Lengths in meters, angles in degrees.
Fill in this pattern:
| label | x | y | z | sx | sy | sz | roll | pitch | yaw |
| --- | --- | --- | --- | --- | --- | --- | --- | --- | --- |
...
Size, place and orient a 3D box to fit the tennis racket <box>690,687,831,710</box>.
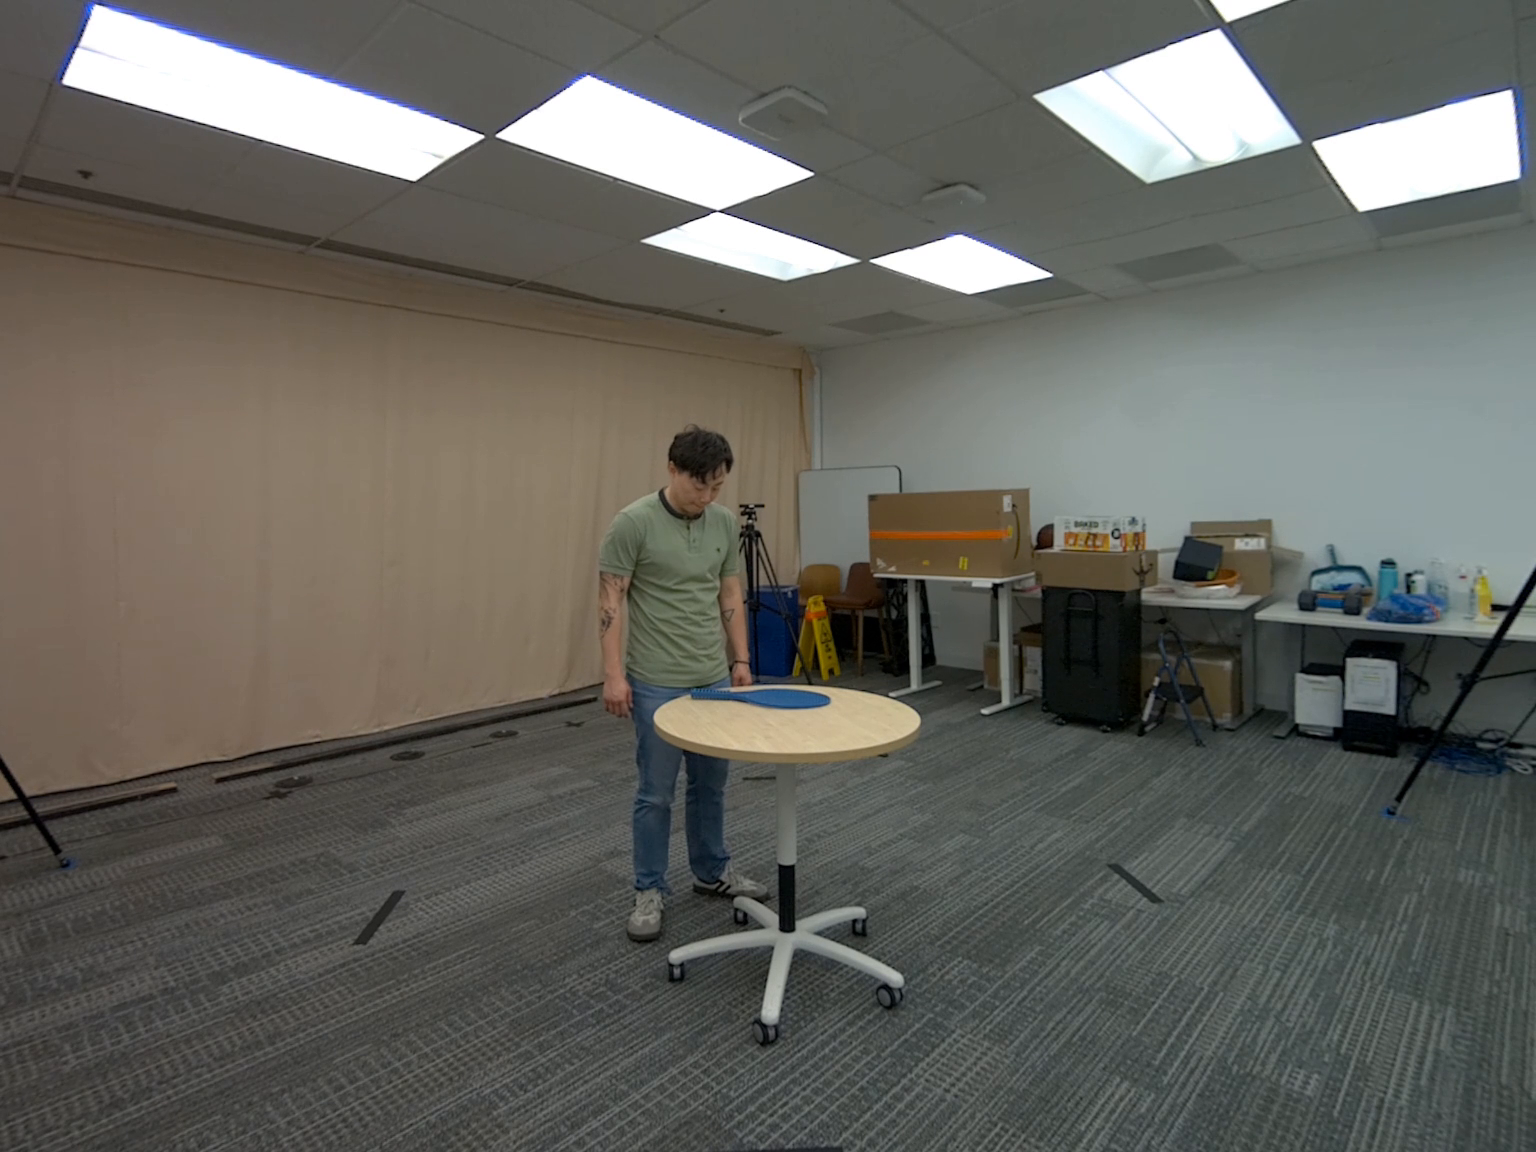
| label | x | y | z | sx | sy | sz | roll | pitch | yaw |
| --- | --- | --- | --- | --- | --- | --- | --- | --- | --- |
| tennis racket | -0.022 | 0.376 | 2.620 | 0.437 | 0.031 | 0.212 | 2 | 6 | 8 |
